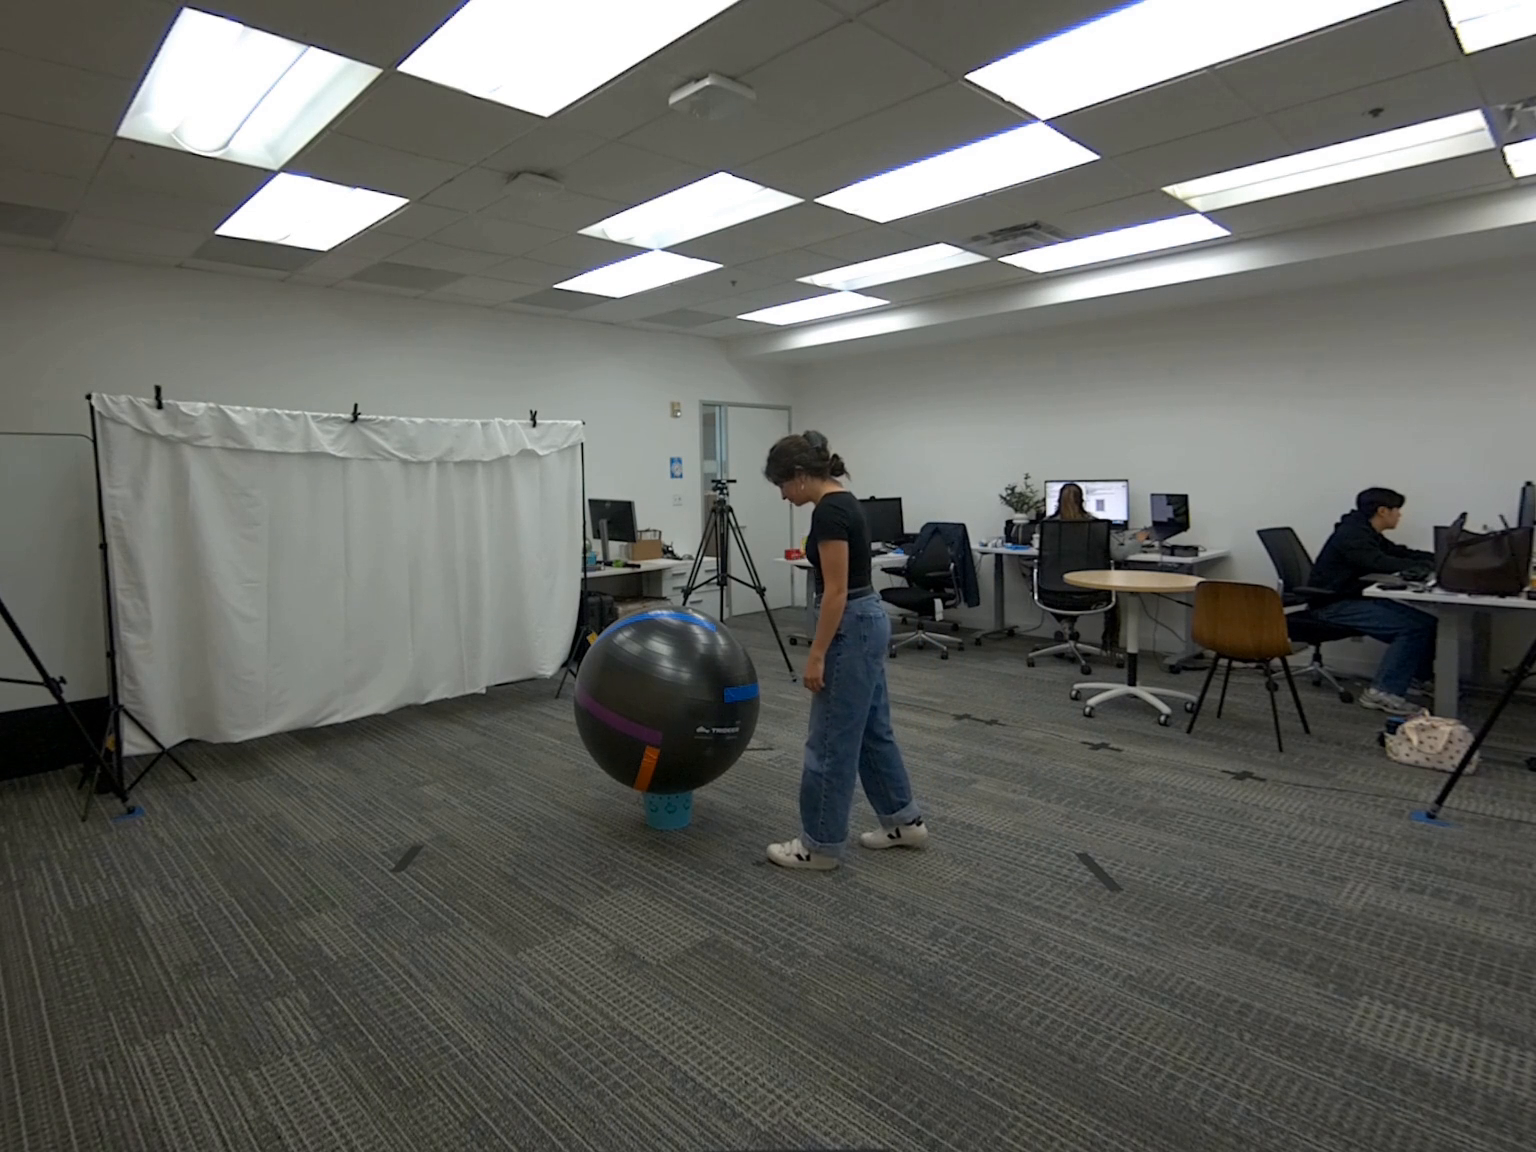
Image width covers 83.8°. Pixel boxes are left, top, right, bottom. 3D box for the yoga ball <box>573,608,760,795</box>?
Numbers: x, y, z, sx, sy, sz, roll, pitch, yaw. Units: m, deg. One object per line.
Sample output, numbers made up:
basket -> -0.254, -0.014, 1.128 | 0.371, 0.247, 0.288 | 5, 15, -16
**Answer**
yoga ball -> -0.412, 0.504, 3.494 | 0.757, 0.755, 0.762 | -1, 5, -2
